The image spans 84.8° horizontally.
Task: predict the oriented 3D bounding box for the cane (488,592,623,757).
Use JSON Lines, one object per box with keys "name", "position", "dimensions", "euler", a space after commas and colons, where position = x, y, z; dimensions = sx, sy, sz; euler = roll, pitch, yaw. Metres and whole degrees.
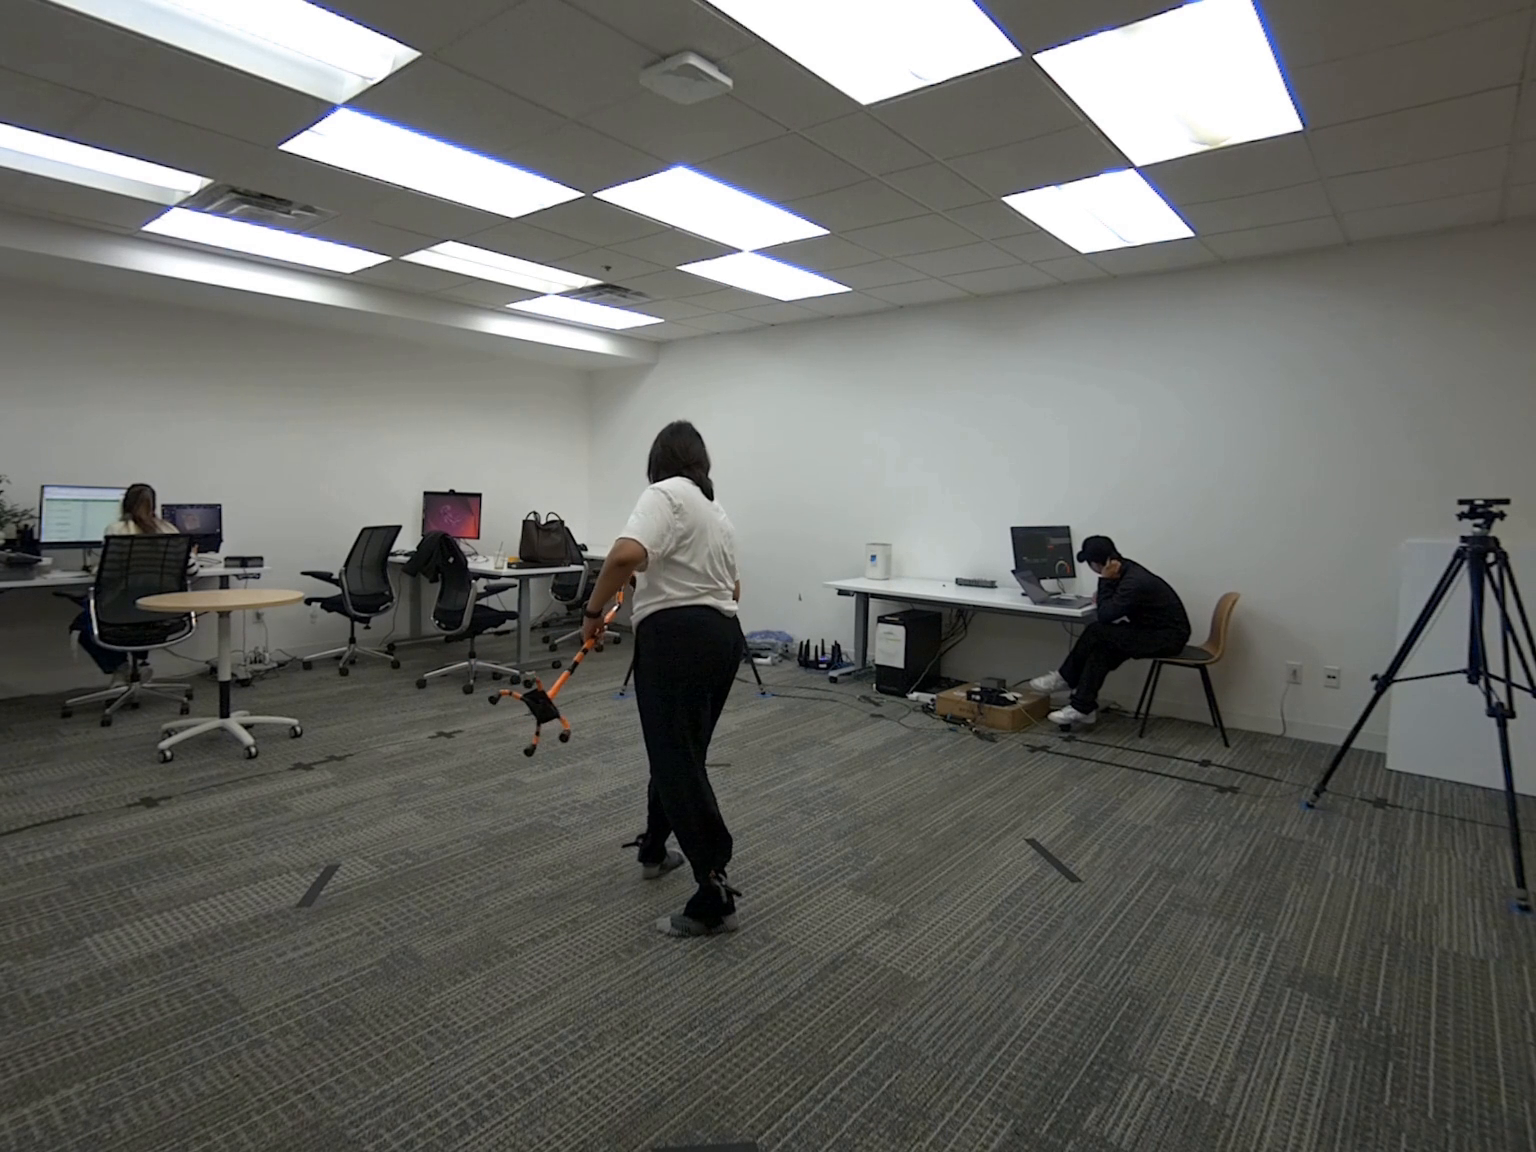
{"name": "cane", "position": [-0.596, 0.213, 2.696], "dimensions": [0.153, 0.202, 0.916], "euler": [-25, 17, 17]}
